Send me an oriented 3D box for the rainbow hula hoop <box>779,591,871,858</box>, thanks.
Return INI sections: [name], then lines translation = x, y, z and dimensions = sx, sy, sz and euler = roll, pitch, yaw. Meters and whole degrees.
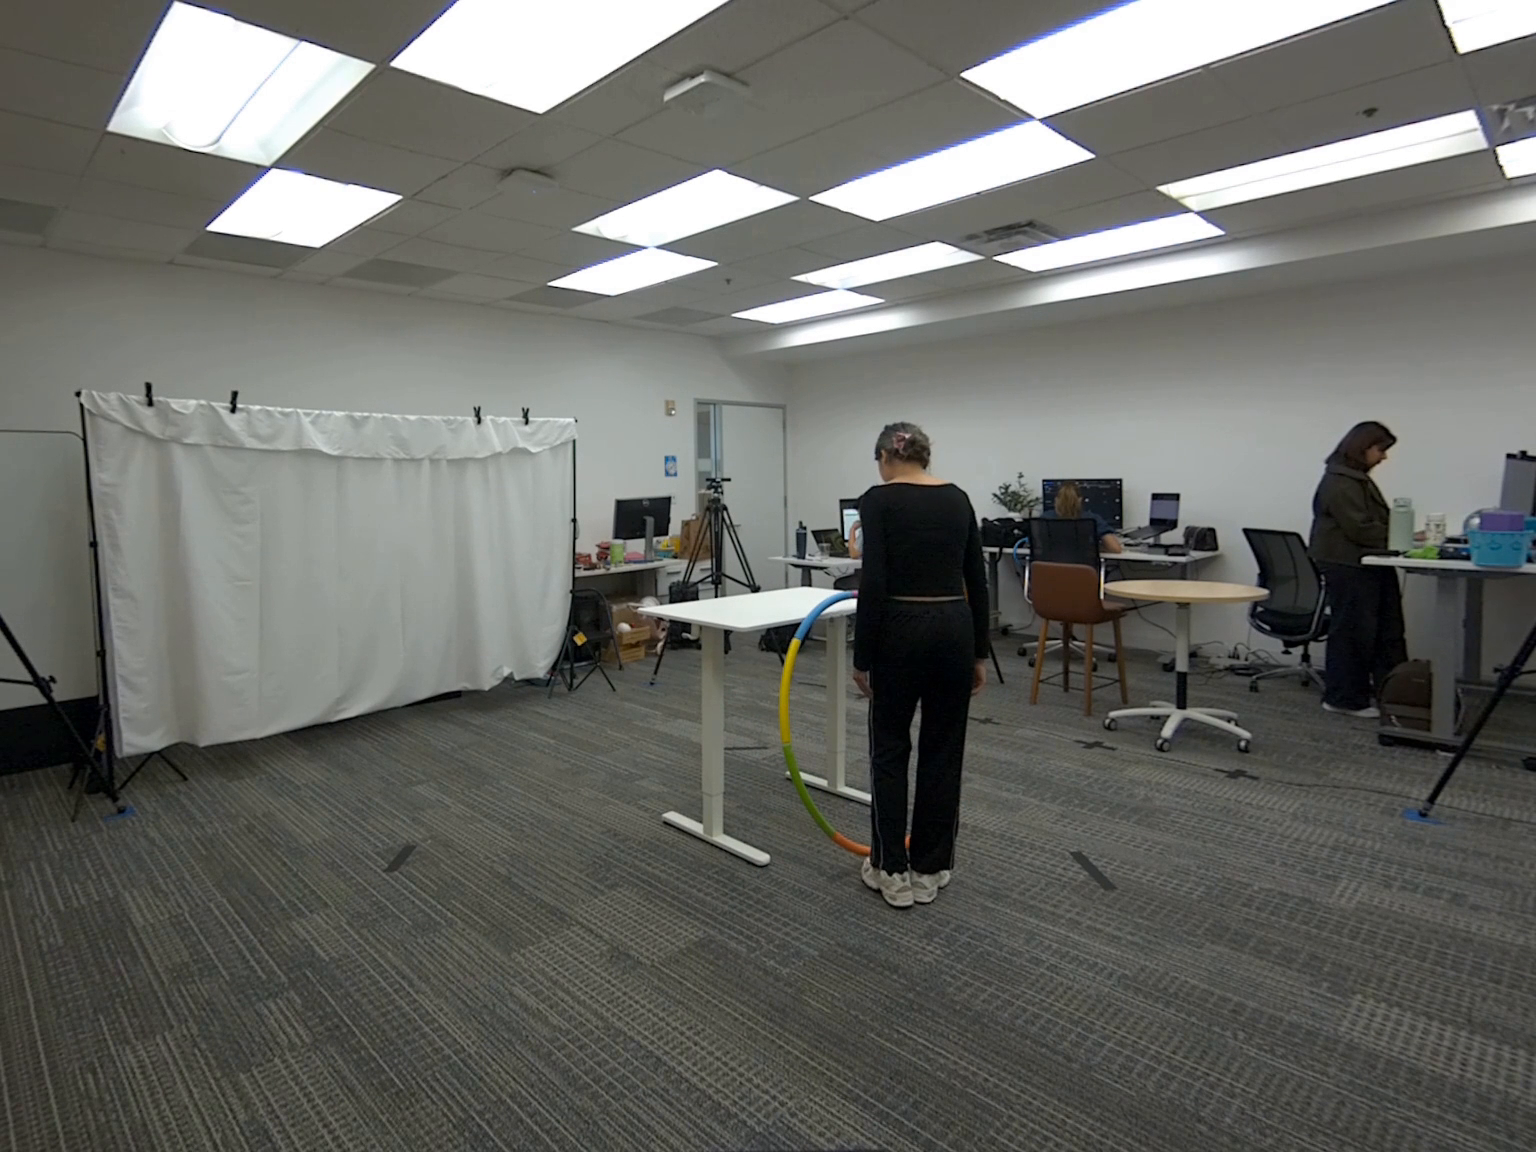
[rainbow hula hoop]
translation = 0.396, 0.545, 3.243
dimensions = 0.953, 0.986, 0.036
euler = -6, -9, -45
